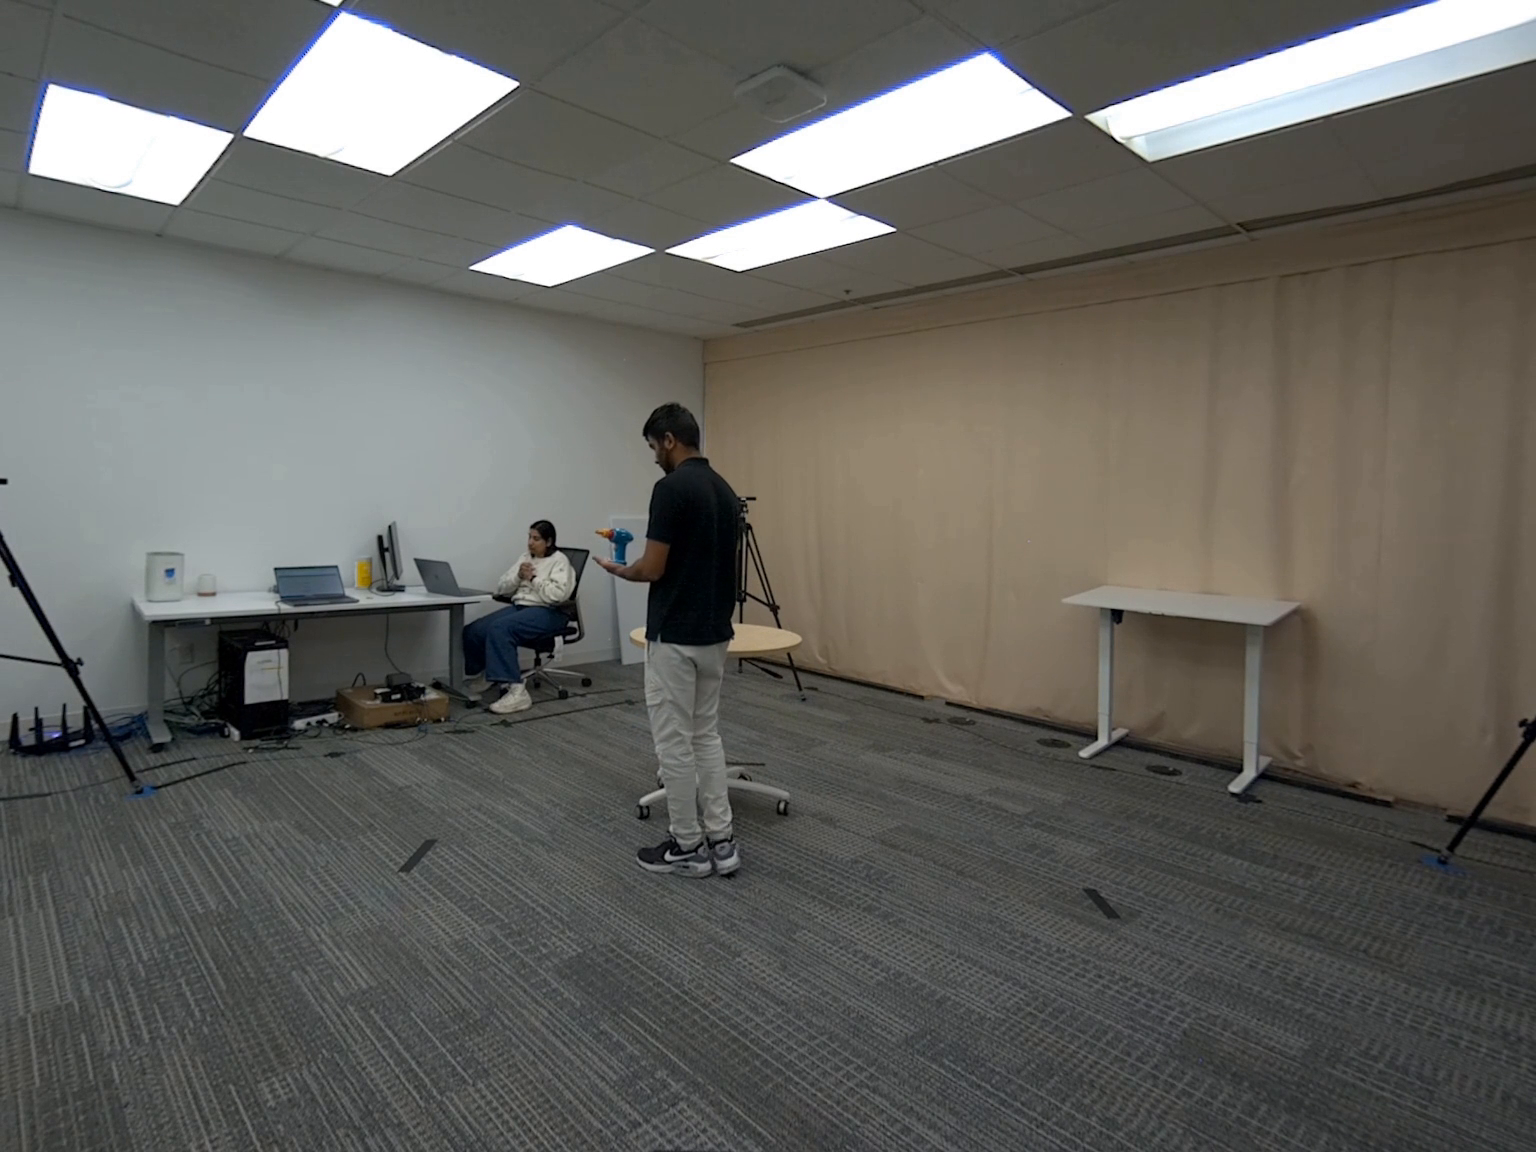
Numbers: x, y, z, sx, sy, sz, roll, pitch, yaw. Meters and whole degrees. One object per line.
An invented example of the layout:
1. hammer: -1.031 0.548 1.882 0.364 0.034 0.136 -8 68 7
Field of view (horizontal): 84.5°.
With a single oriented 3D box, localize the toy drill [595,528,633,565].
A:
1. toy drill: -0.598 -0.116 3.209 0.165 0.146 0.063 11 -3 -42
